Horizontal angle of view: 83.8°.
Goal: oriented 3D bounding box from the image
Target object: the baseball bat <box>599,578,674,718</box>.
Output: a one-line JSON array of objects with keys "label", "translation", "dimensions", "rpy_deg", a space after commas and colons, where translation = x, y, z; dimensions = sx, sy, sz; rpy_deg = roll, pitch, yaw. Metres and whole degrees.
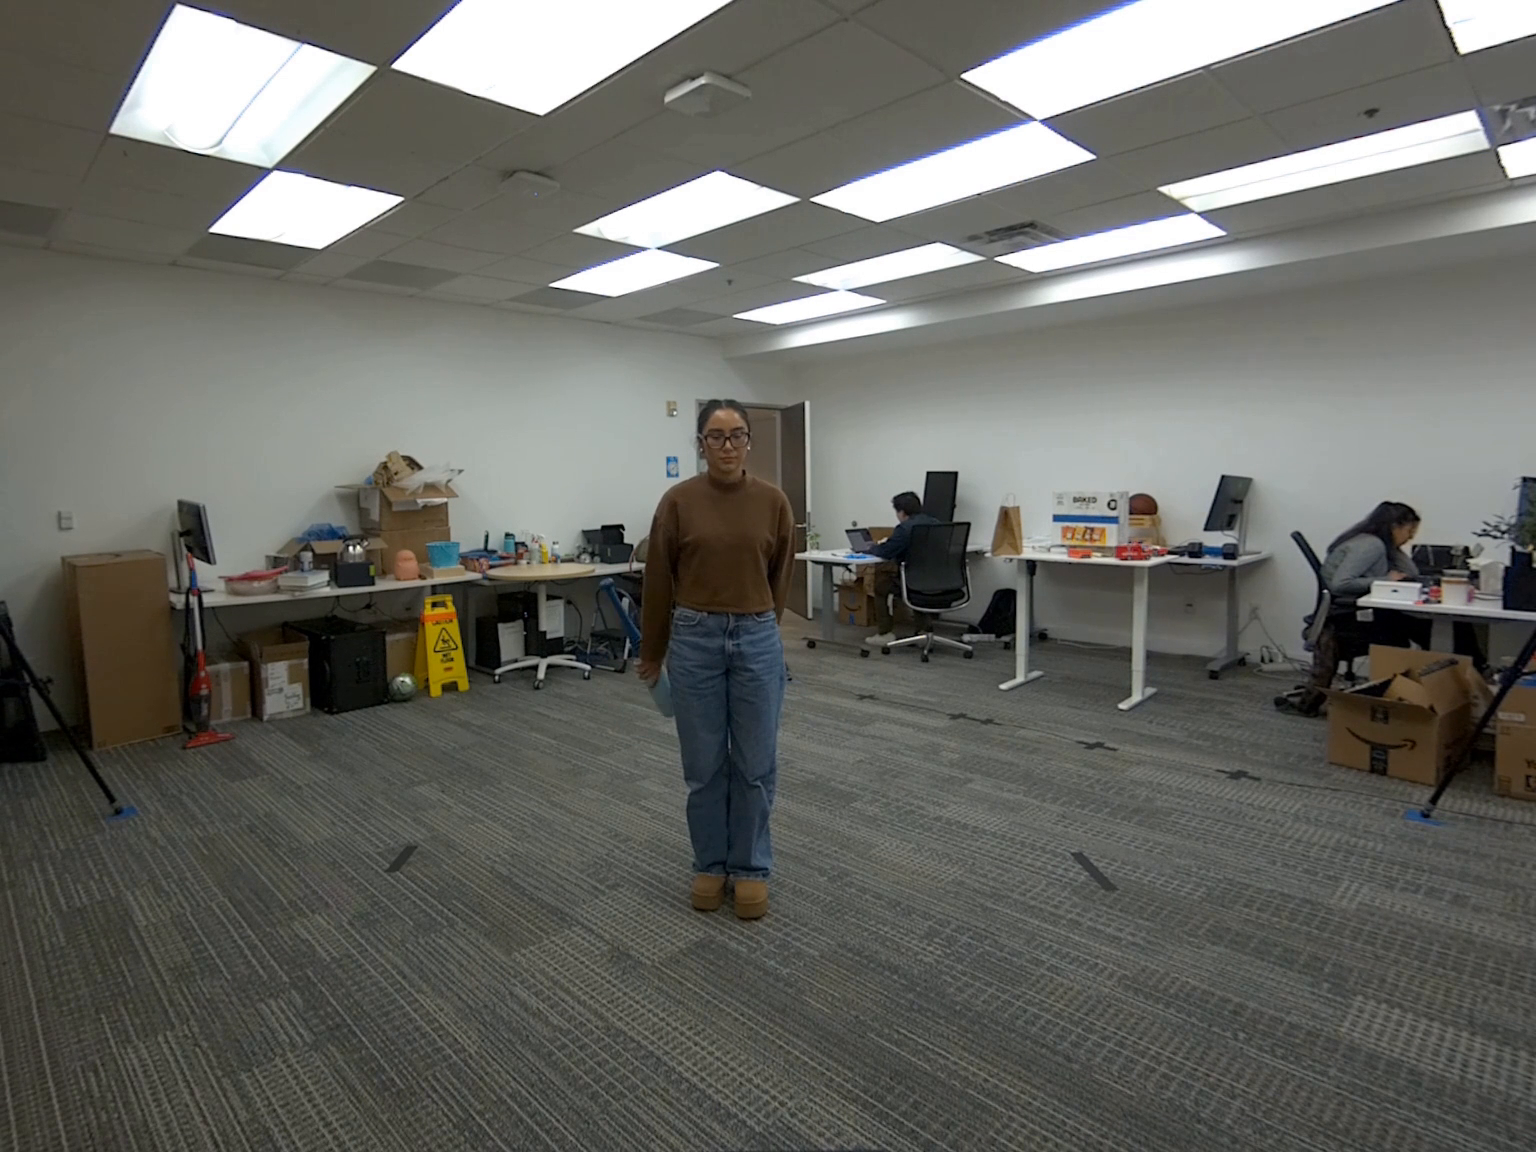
[{"label": "baseball bat", "translation": [-0.430, 0.246, 2.952], "dimensions": [0.089, 0.535, 0.090], "rpy_deg": [-24, 12, 4]}]
